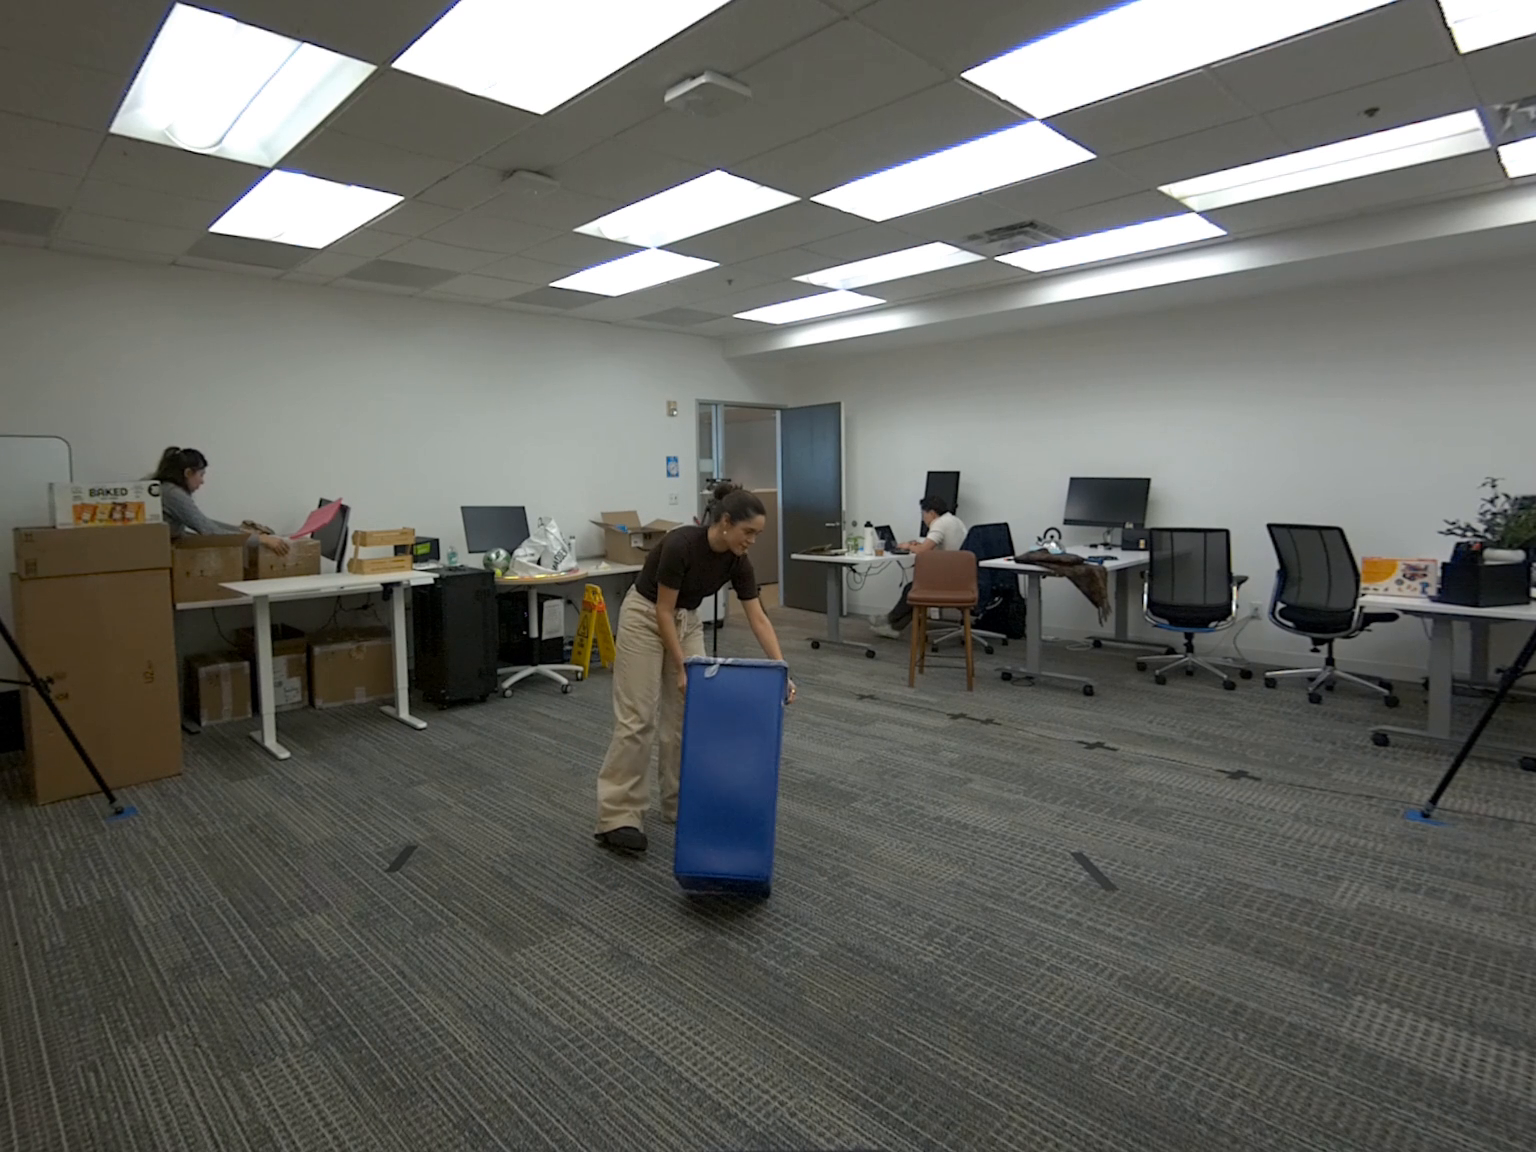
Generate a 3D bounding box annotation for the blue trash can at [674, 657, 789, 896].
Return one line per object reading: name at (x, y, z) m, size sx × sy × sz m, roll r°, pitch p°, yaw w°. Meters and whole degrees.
blue trash can at (-0.125, 0.688, 2.943) m, size 0.379 × 0.729 × 0.365 m, roll 3°, pitch -29°, yaw 2°
